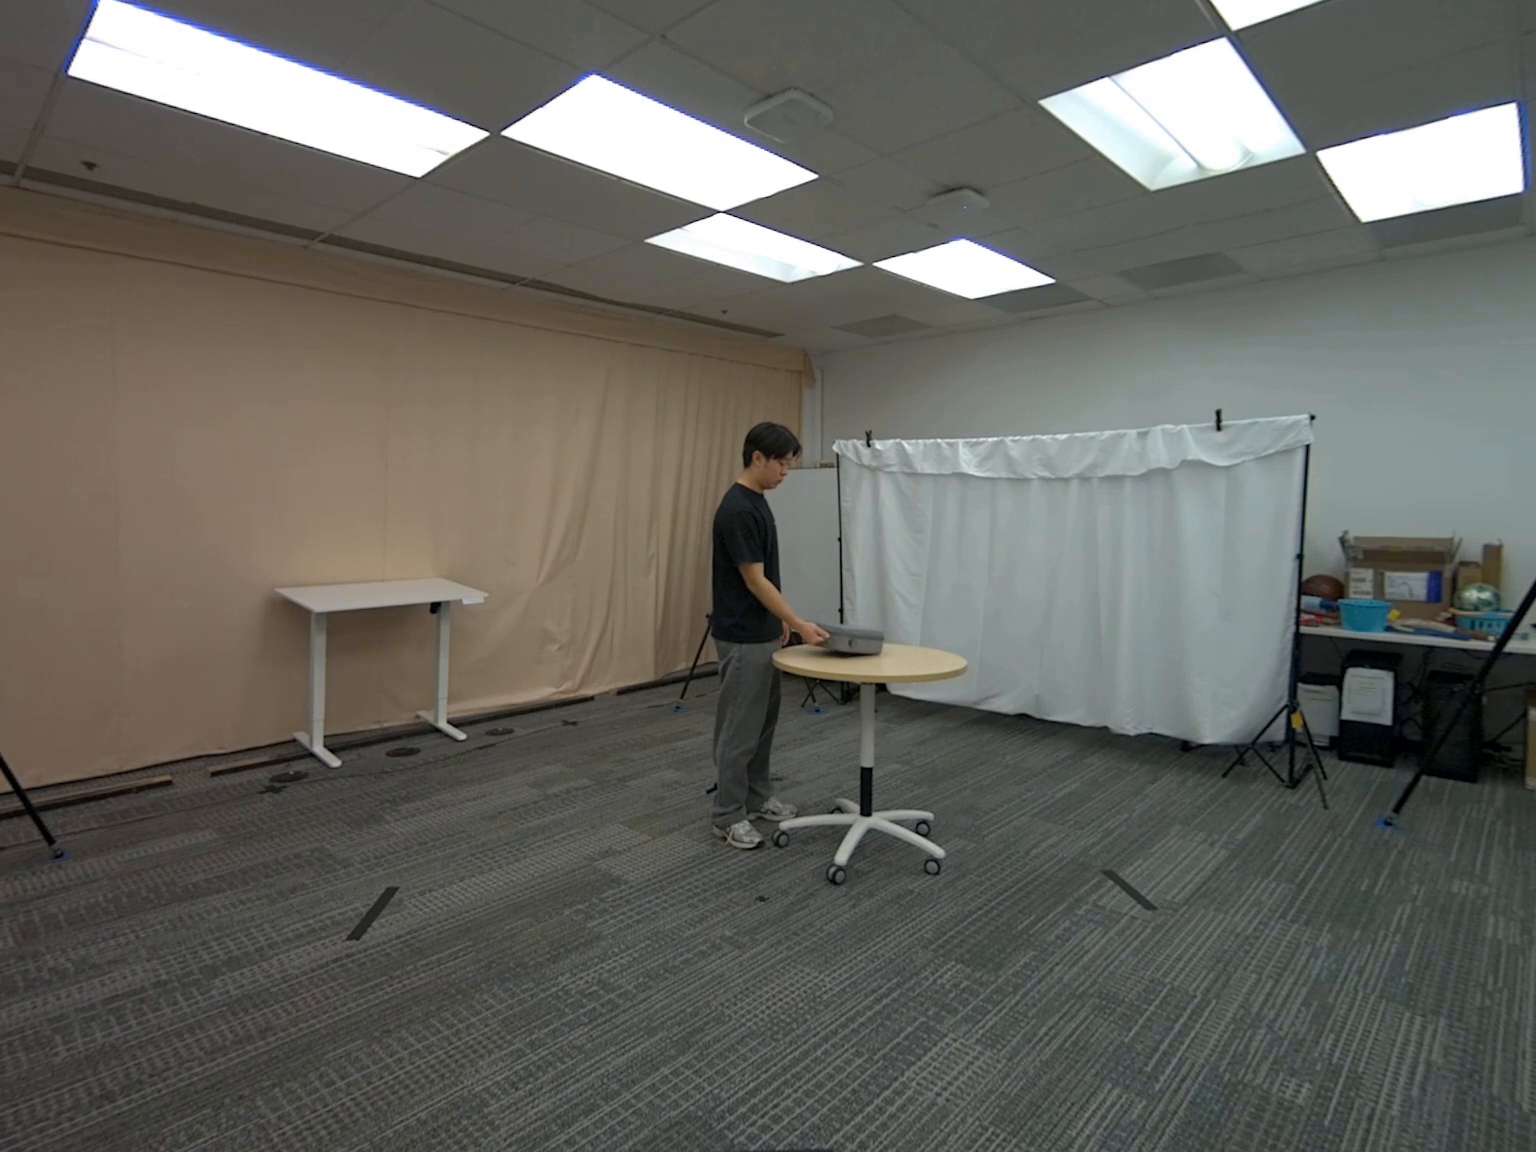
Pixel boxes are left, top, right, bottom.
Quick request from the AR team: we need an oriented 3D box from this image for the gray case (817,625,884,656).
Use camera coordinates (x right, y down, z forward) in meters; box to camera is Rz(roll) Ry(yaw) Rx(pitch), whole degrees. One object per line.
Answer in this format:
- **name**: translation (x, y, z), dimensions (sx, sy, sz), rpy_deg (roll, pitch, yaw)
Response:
- **gray case**: translation (0.314, 0.251, 3.453), dimensions (0.278, 0.103, 0.271), rpy_deg (7, -1, -35)
